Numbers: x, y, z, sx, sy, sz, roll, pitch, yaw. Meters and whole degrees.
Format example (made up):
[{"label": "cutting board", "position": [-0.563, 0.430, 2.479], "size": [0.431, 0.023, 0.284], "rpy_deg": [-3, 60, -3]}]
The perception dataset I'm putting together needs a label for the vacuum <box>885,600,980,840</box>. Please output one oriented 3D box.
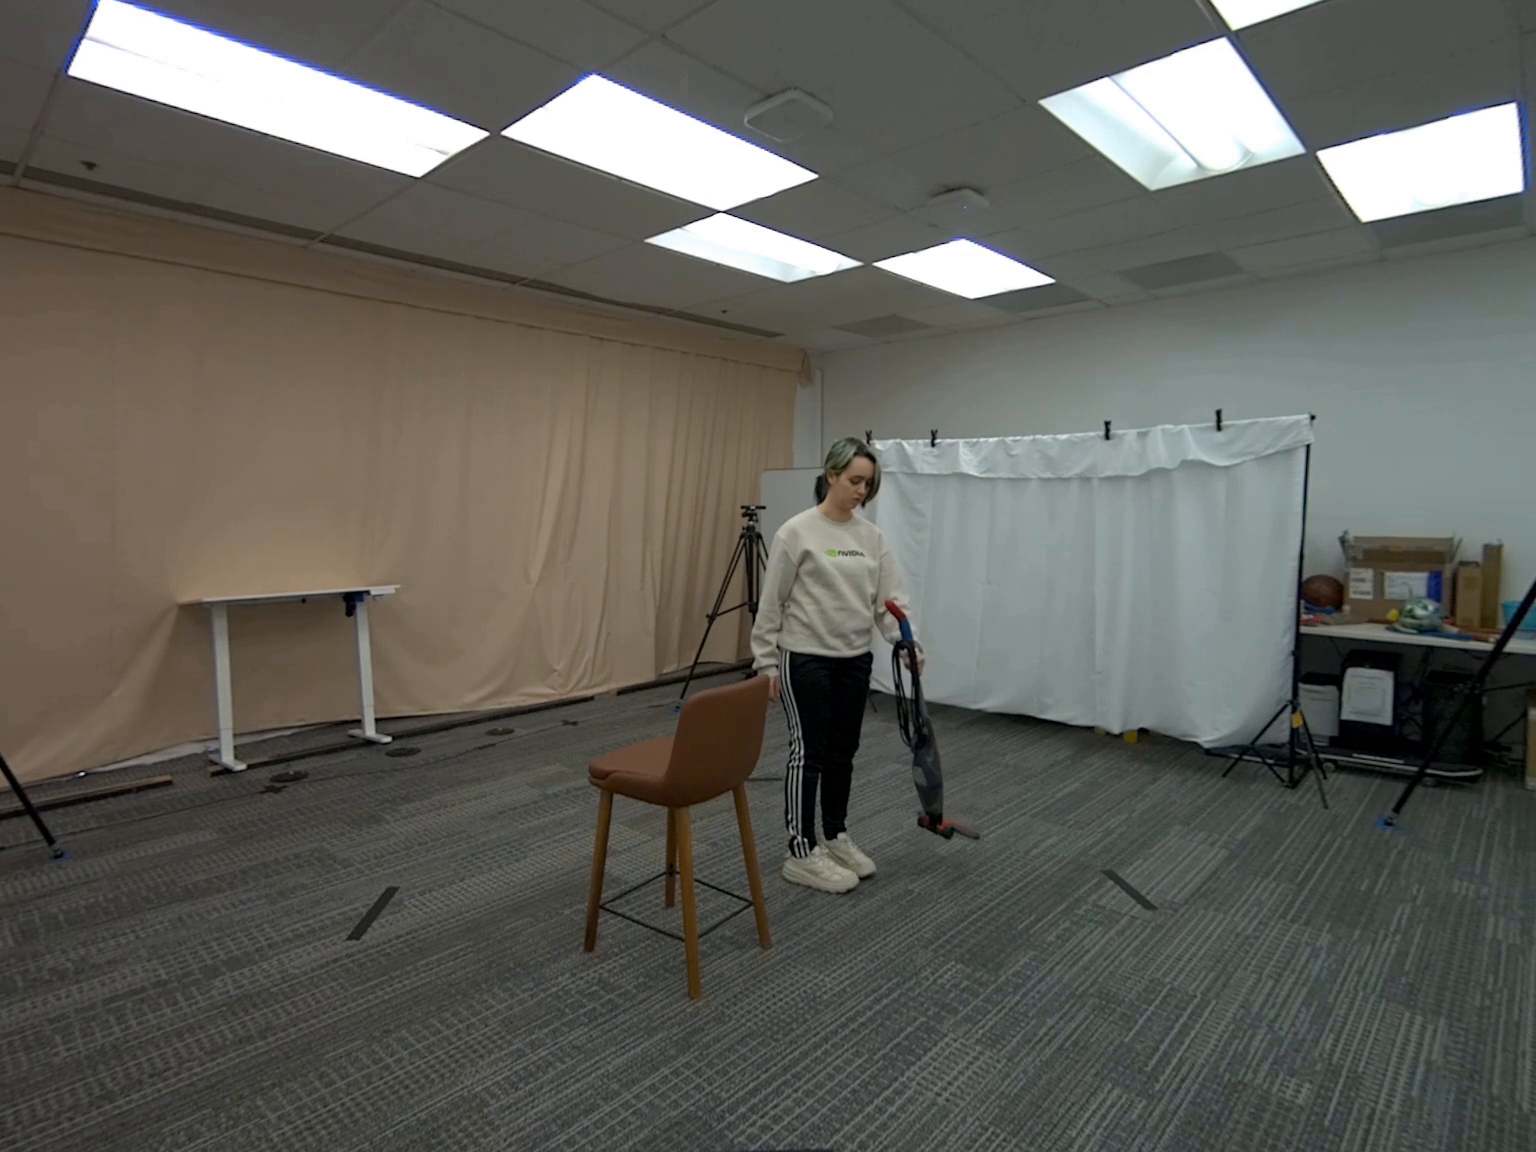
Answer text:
[{"label": "vacuum", "position": [0.547, 0.533, 2.998], "size": [0.142, 1.027, 0.262], "rpy_deg": [-33, 32, -31]}]
